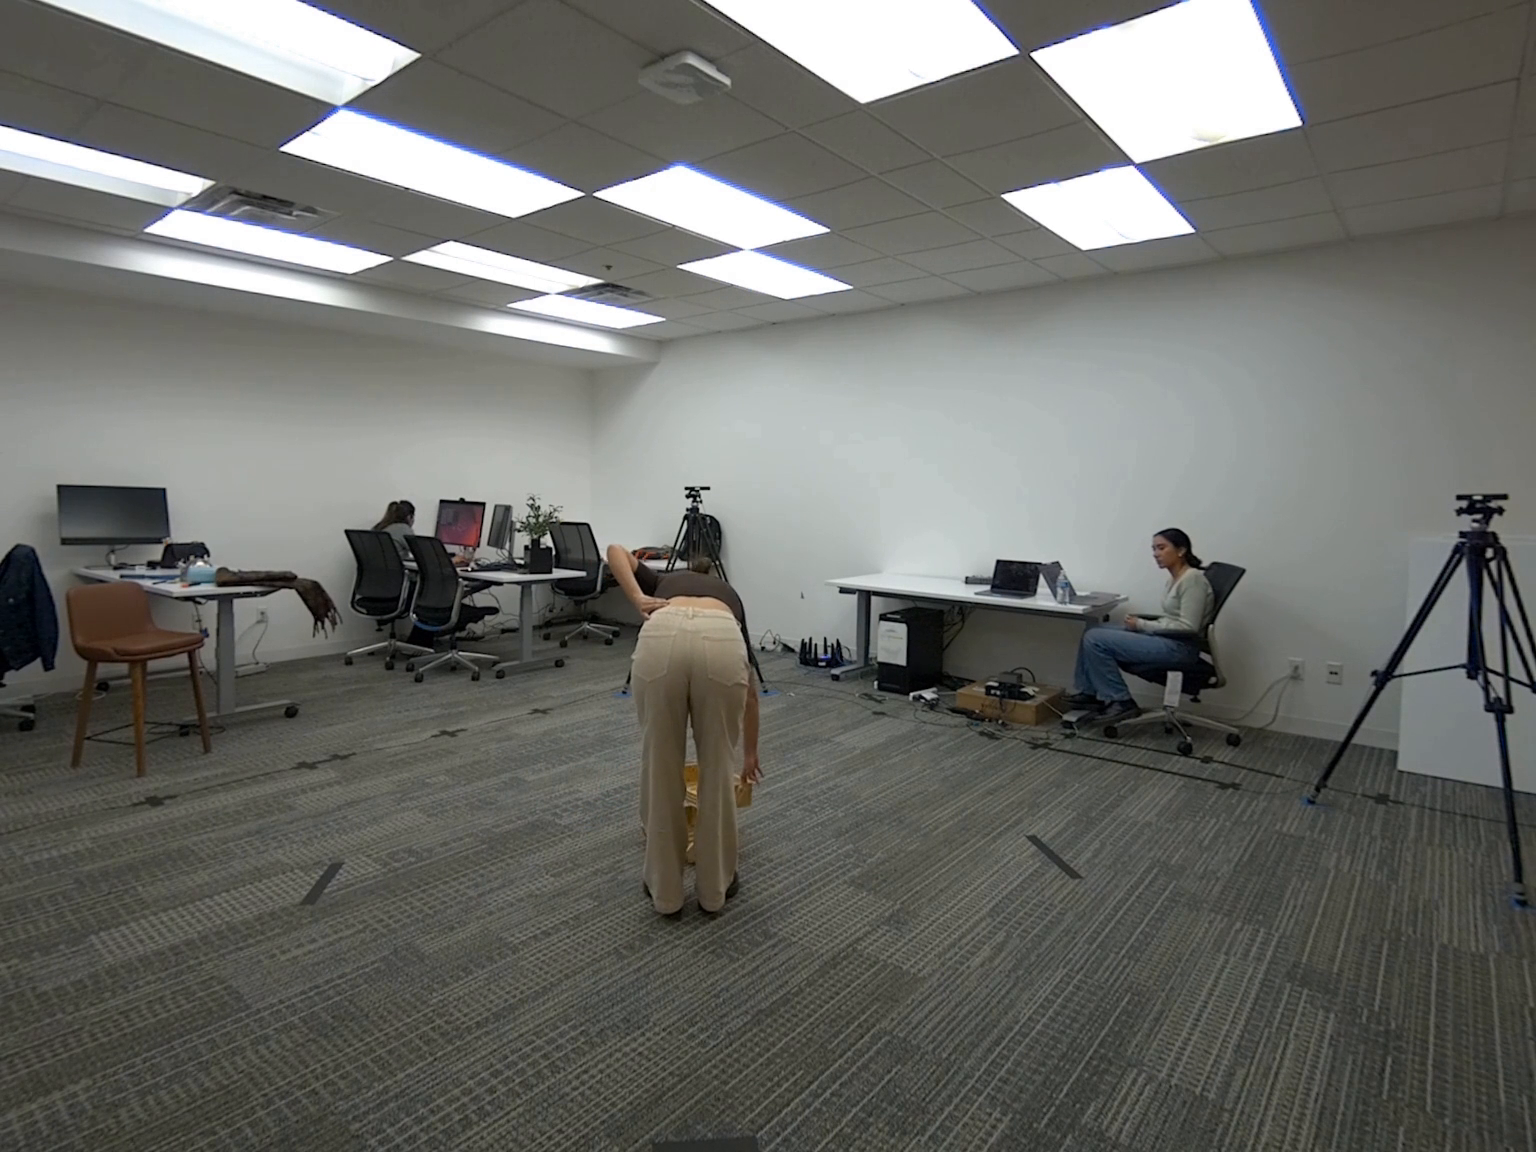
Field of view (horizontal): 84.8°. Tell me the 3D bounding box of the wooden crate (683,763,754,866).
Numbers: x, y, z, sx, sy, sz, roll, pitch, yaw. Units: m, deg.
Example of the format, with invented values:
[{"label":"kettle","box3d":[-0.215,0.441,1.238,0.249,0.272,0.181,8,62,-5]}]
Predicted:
[{"label":"wooden crate","box3d":[-0.281,0.900,3.309,0.292,0.273,0.335,3,2,-40]}]
